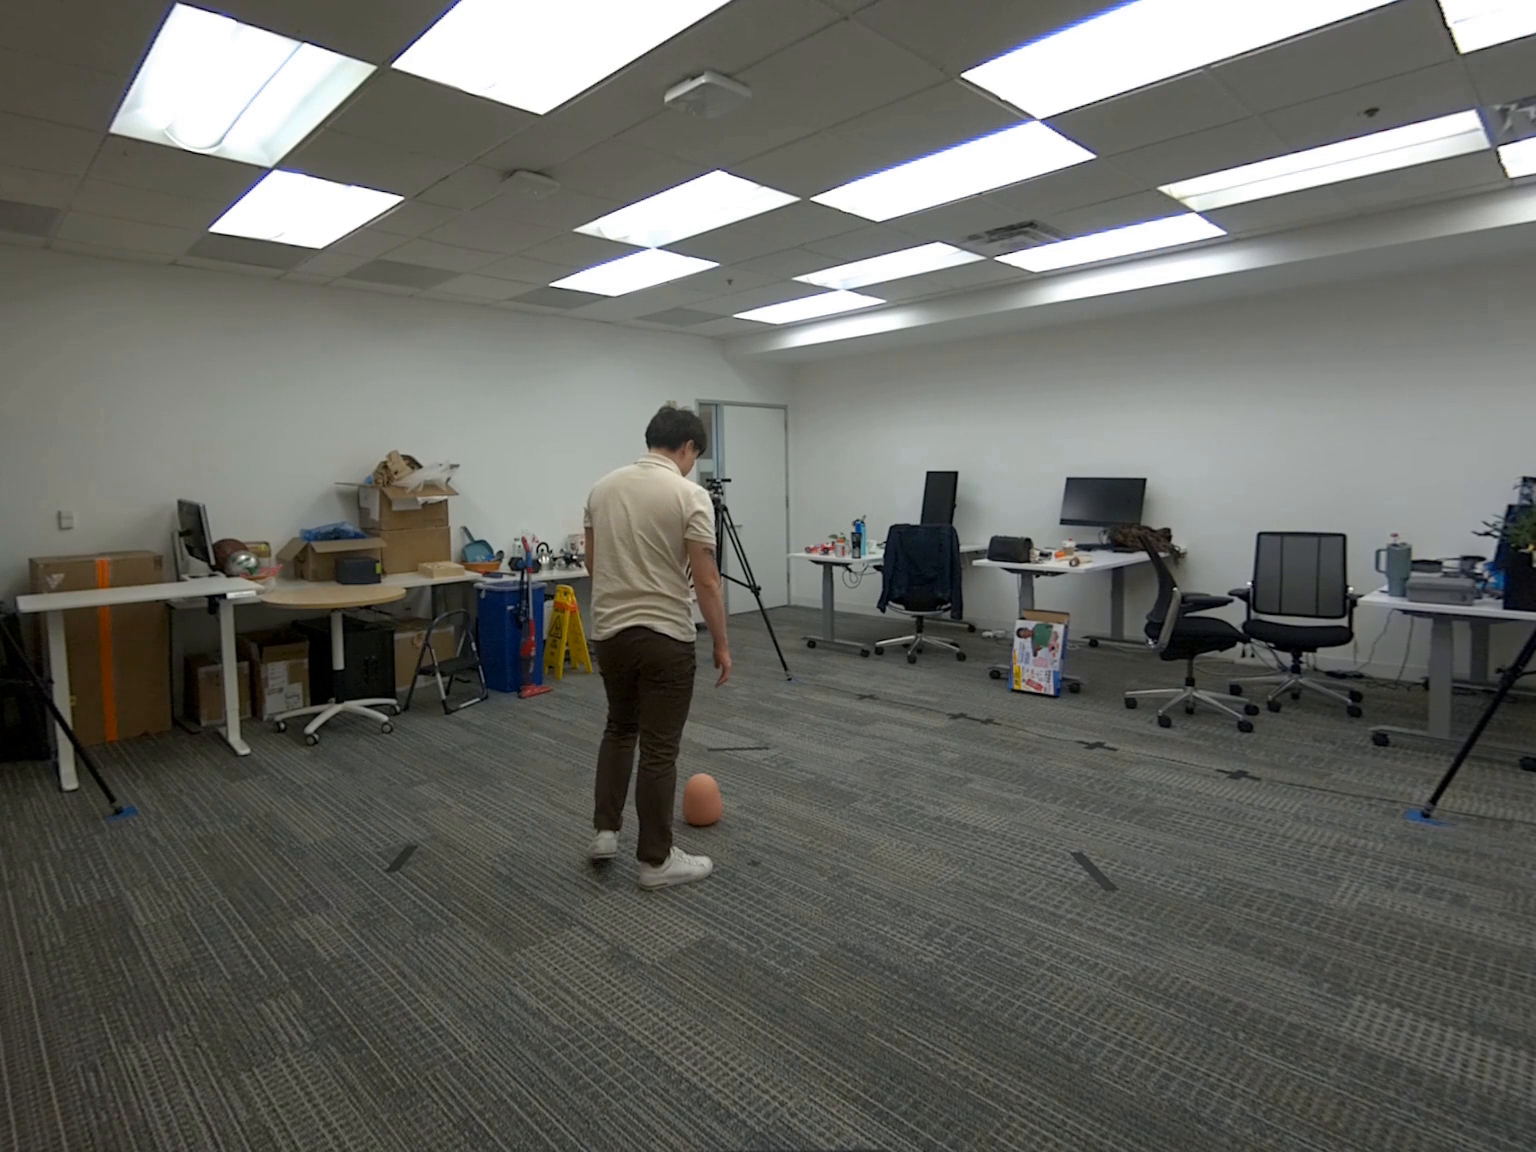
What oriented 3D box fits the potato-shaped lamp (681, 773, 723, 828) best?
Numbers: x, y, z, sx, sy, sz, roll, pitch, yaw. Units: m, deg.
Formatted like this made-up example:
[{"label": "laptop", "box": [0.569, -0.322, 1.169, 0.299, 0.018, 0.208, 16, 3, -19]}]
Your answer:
[{"label": "potato-shaped lamp", "box": [-0.271, 0.906, 3.482, 0.167, 0.197, 0.170, -1, 4, 12]}]
